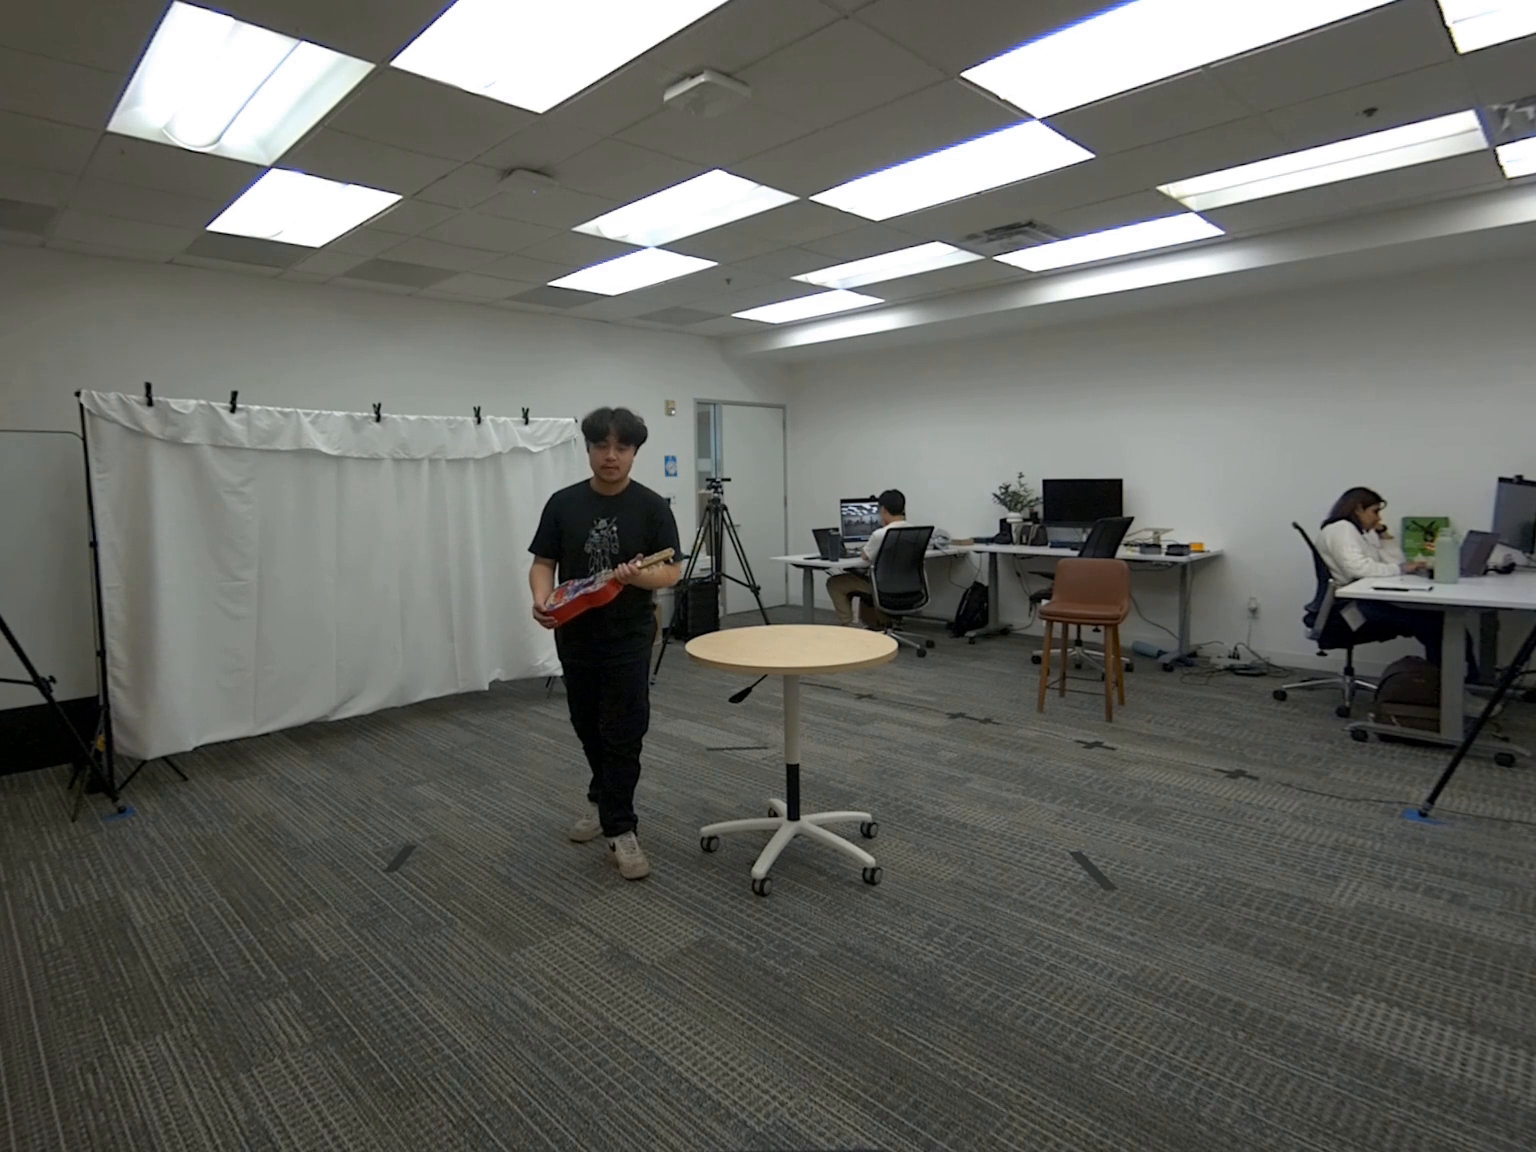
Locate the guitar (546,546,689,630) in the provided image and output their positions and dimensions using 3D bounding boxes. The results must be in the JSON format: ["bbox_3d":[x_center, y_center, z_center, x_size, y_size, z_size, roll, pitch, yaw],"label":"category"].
[{"bbox_3d":[-0.524,0.036,2.888,0.505,0.069,0.195,-17,26,24],"label":"guitar"}]
